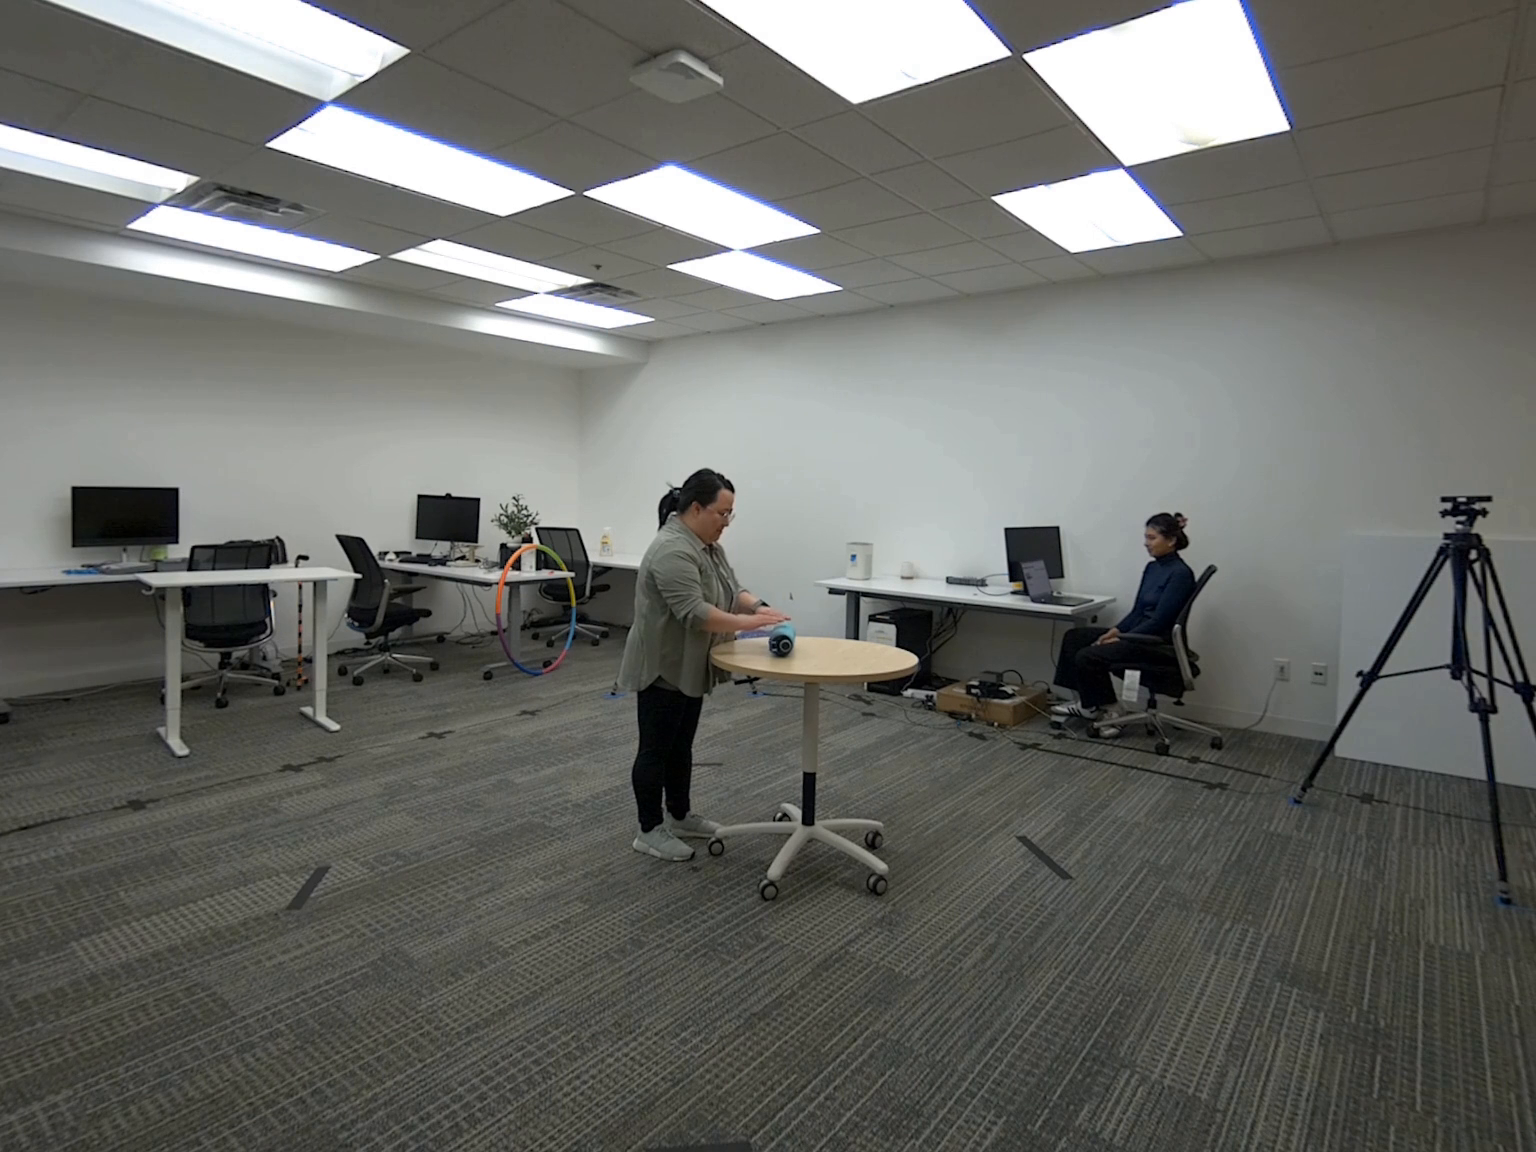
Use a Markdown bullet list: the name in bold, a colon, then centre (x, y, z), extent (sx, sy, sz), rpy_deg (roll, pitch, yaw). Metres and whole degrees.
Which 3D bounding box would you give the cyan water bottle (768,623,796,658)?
- **cyan water bottle**: centre (0.047, 0.239, 3.189), extent (0.093, 0.092, 0.283), rpy_deg (1, 6, 4)
